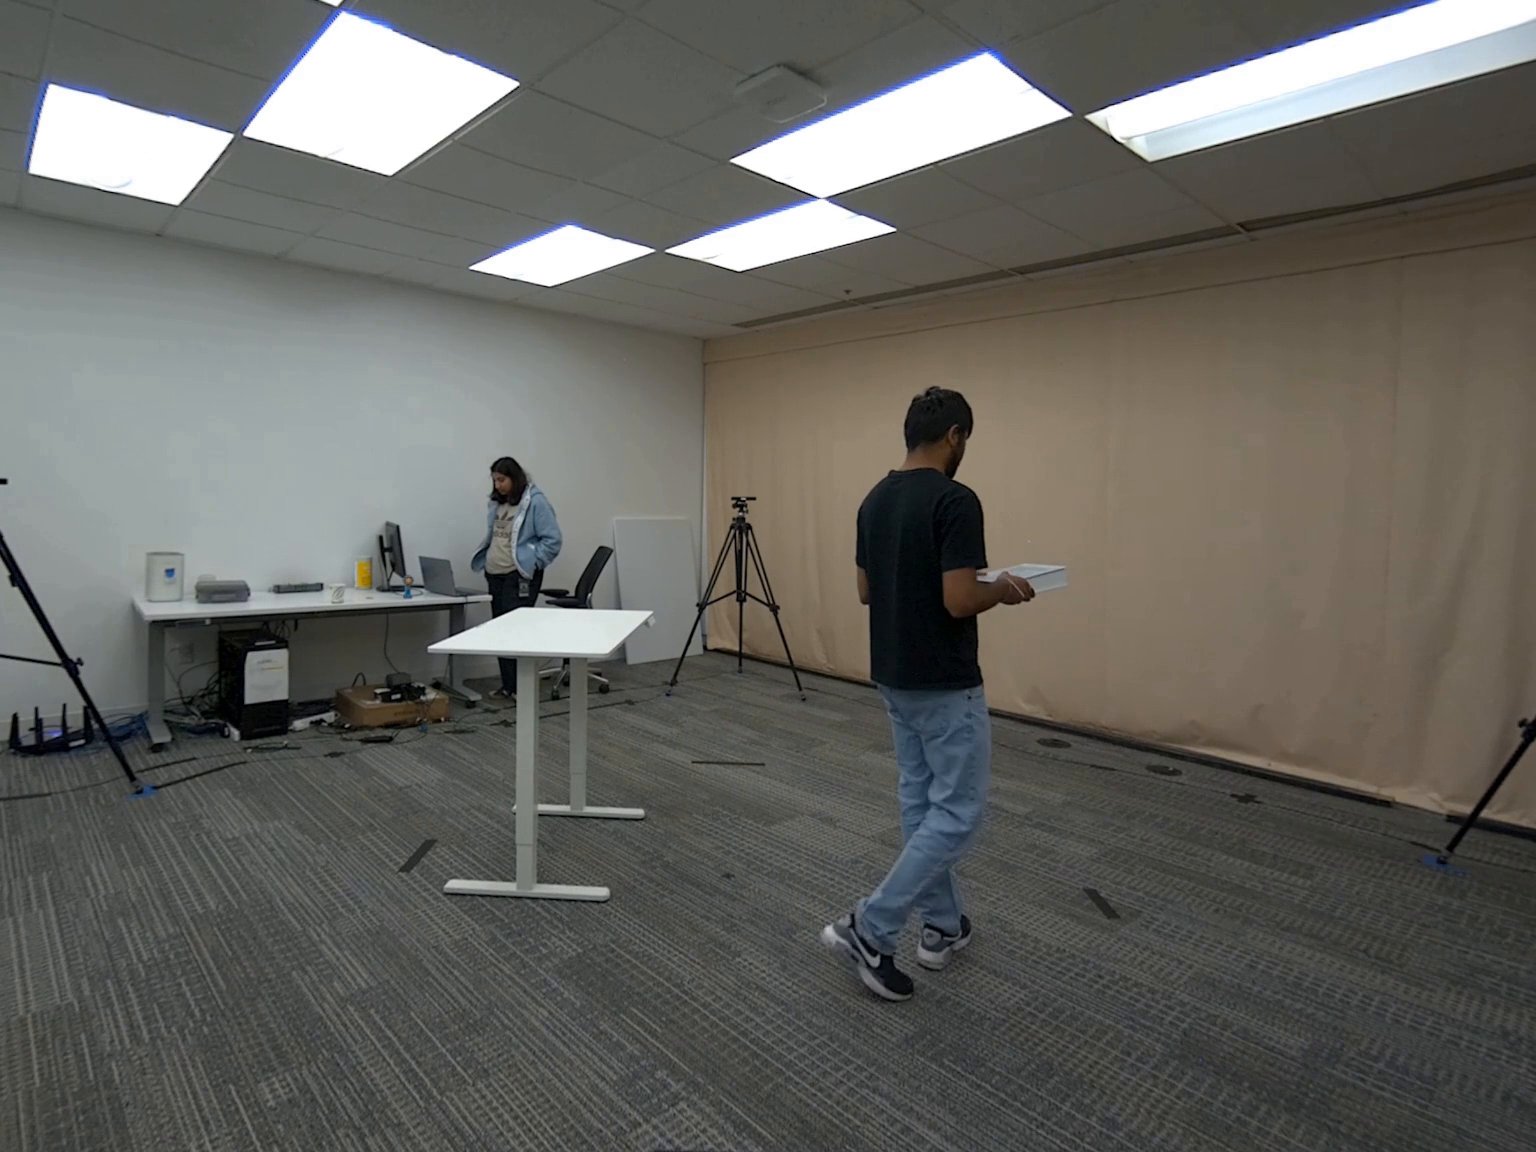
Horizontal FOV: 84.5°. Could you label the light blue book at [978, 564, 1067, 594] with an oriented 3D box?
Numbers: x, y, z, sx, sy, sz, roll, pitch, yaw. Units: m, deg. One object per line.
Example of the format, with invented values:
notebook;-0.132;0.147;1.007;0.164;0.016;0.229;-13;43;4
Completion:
light blue book;0.776;0.019;2.627;0.257;0.059;0.195;-10;8;-24
